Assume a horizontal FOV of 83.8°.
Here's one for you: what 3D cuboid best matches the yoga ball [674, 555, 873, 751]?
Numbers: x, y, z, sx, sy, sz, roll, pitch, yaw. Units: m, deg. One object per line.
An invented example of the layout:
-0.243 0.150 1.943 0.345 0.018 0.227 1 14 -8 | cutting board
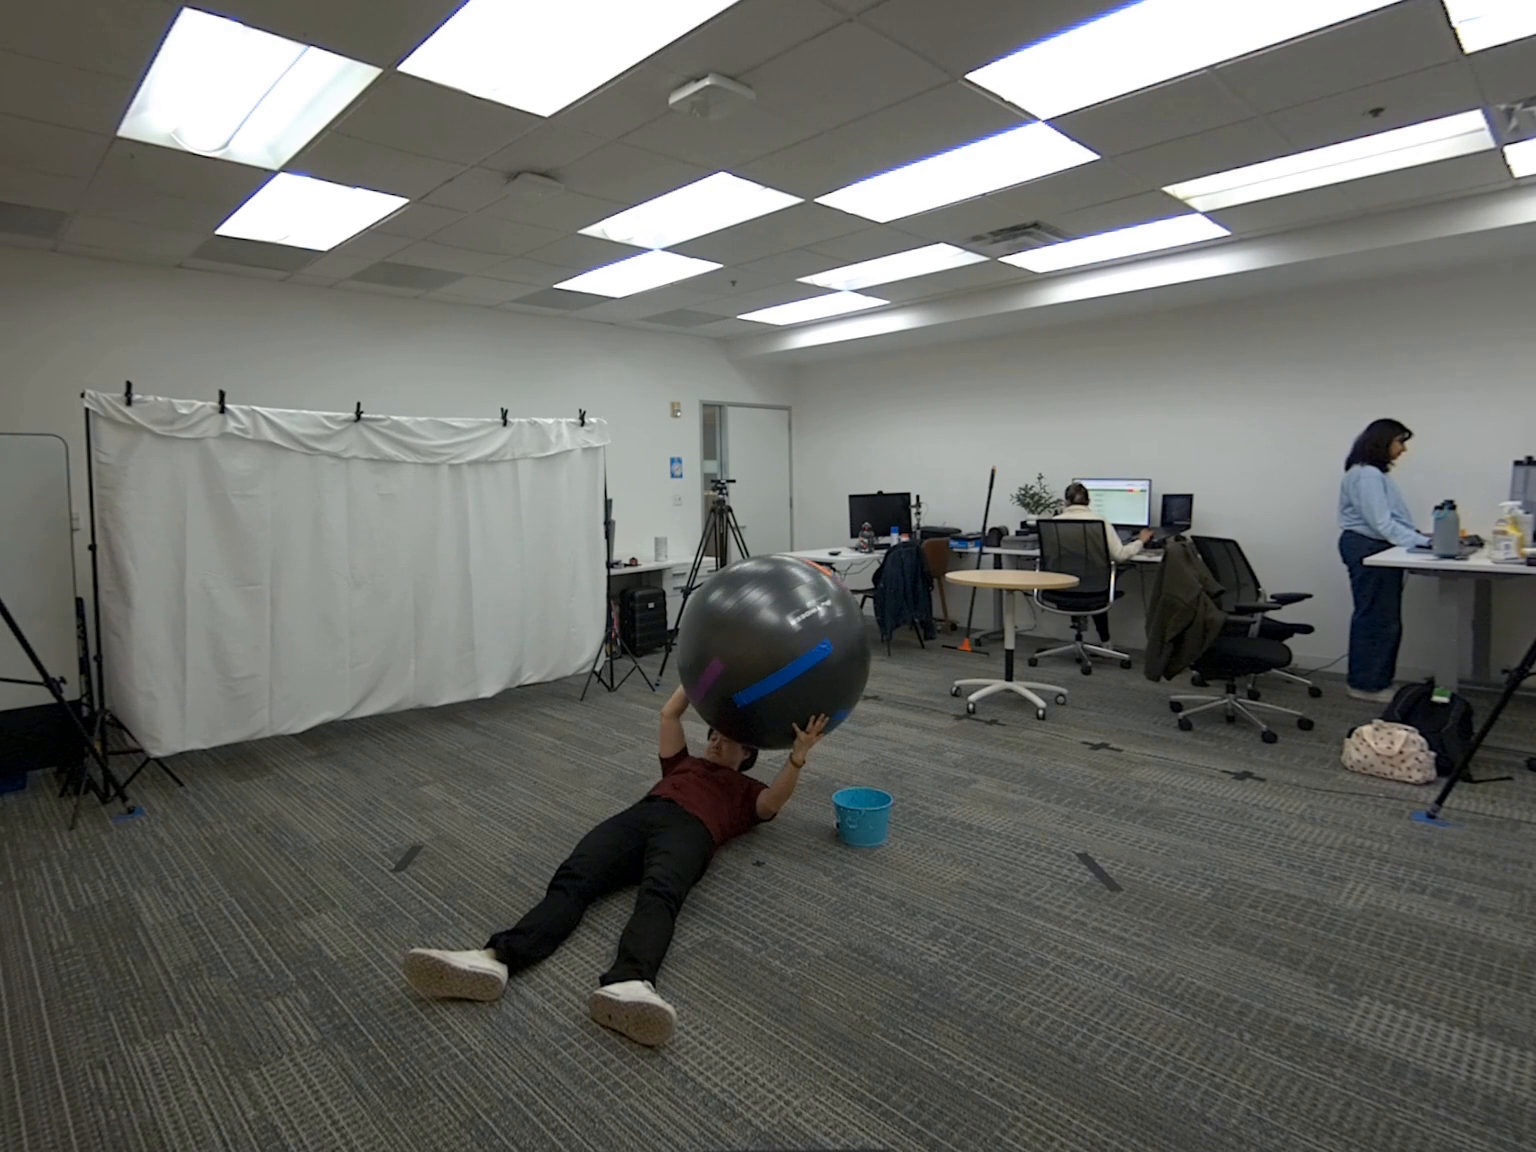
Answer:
0.019 0.297 3.348 0.757 0.755 0.762 -1 5 -2 | yoga ball
